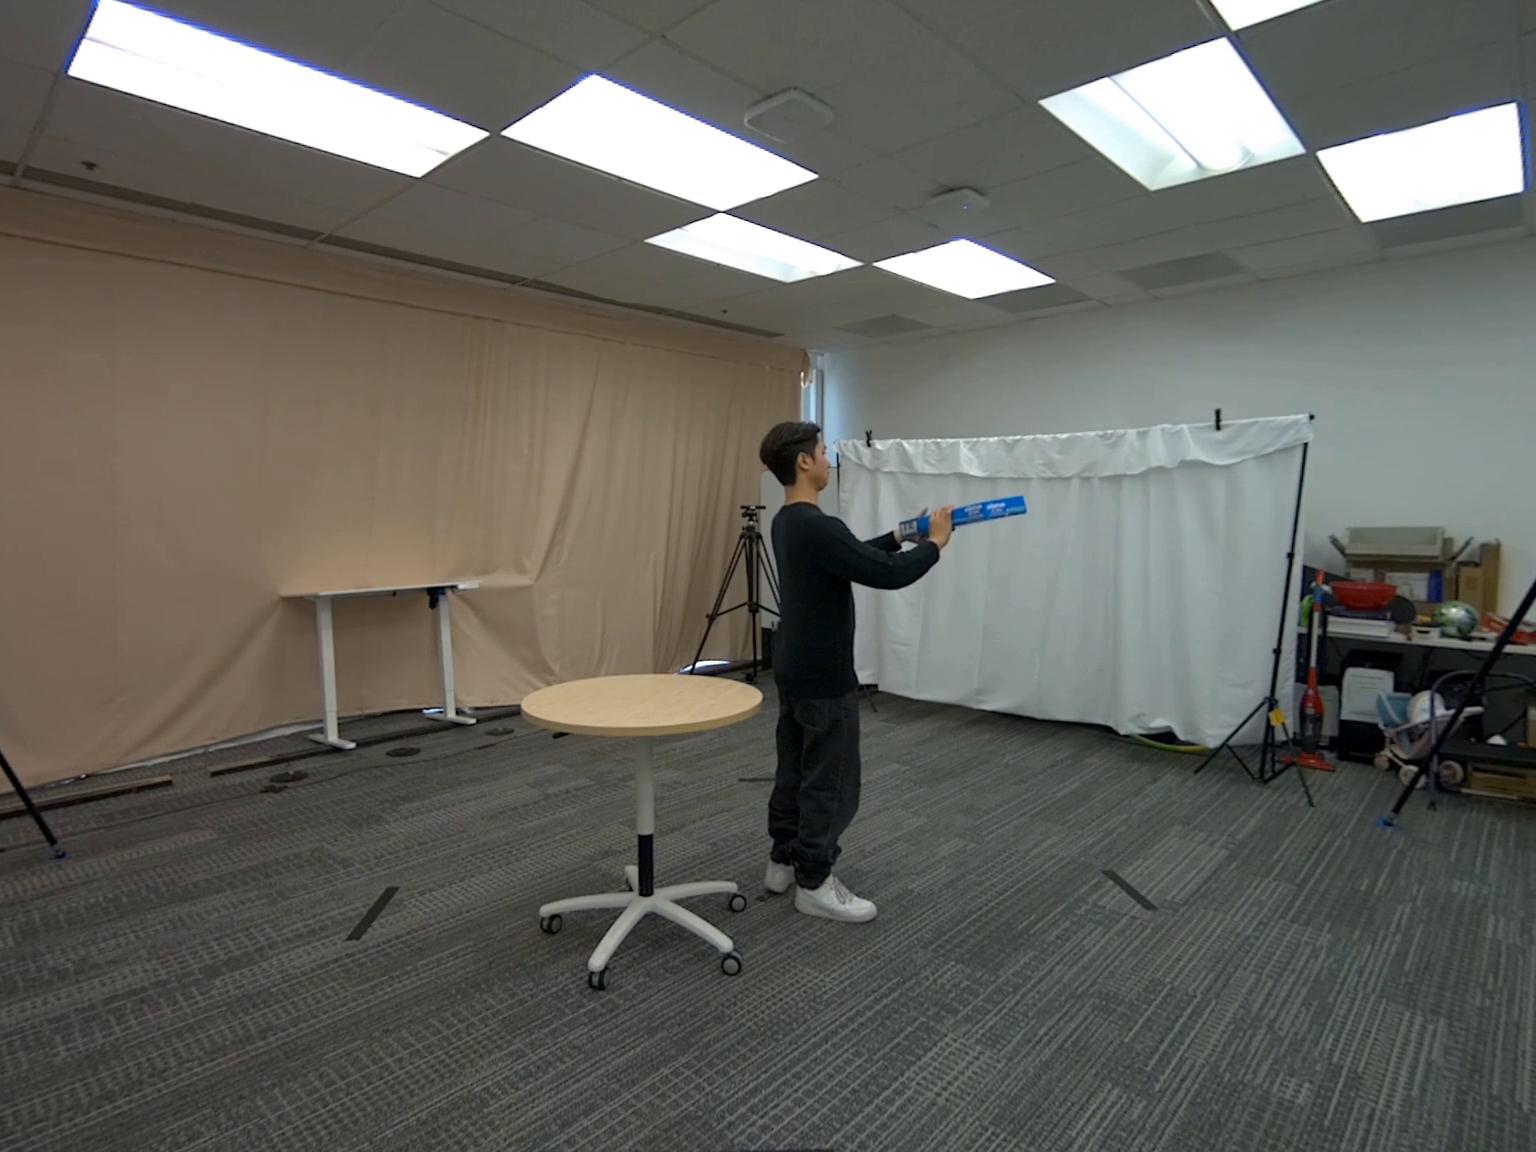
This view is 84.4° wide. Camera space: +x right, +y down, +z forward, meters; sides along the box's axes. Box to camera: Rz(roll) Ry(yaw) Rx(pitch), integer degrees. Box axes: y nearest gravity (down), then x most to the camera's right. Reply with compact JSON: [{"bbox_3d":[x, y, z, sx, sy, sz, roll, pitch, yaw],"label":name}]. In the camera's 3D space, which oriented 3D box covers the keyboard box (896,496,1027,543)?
[{"bbox_3d":[0.648,-0.195,2.832,0.172,0.059,0.446,-9,-1,-28],"label":"keyboard box"}]
